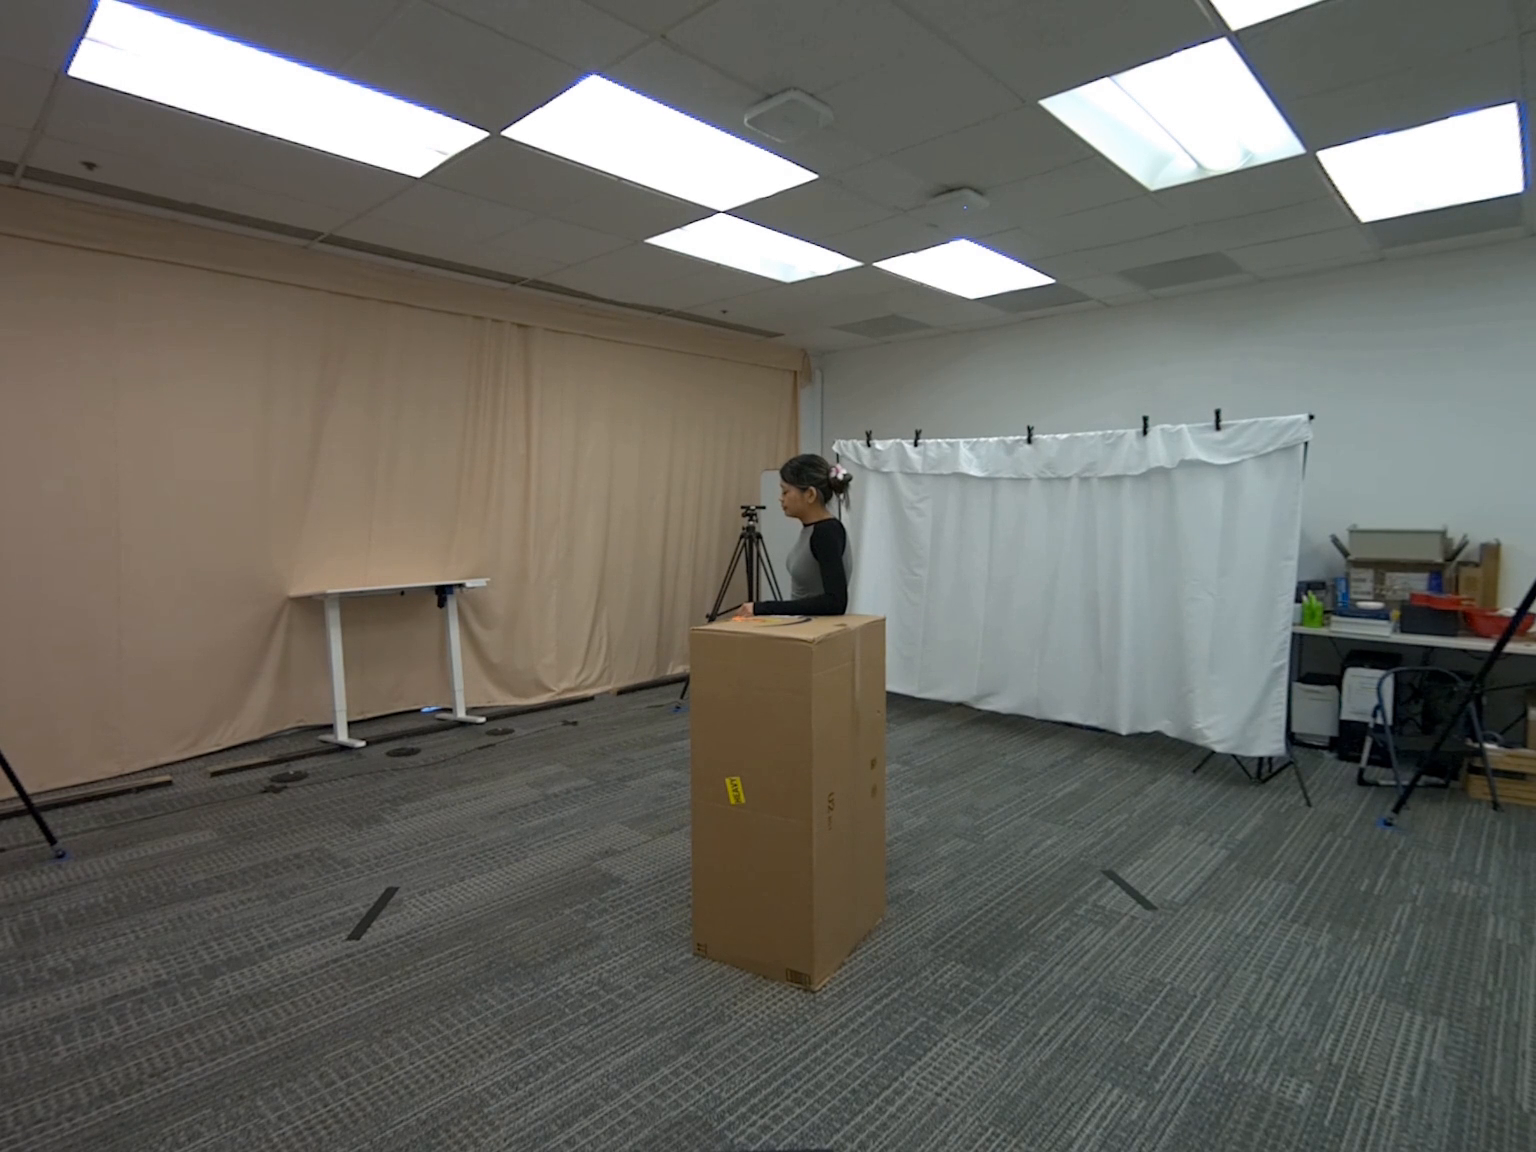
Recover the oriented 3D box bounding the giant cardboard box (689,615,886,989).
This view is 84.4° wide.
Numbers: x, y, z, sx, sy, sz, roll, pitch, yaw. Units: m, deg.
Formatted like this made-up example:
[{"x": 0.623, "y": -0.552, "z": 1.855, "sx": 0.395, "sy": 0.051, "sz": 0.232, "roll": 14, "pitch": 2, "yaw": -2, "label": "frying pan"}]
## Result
[{"x": 0.082, "y": 0.656, "z": 2.726, "sx": 0.439, "sy": 1.024, "sz": 0.562, "roll": 2, "pitch": 3, "yaw": 31, "label": "giant cardboard box"}]
